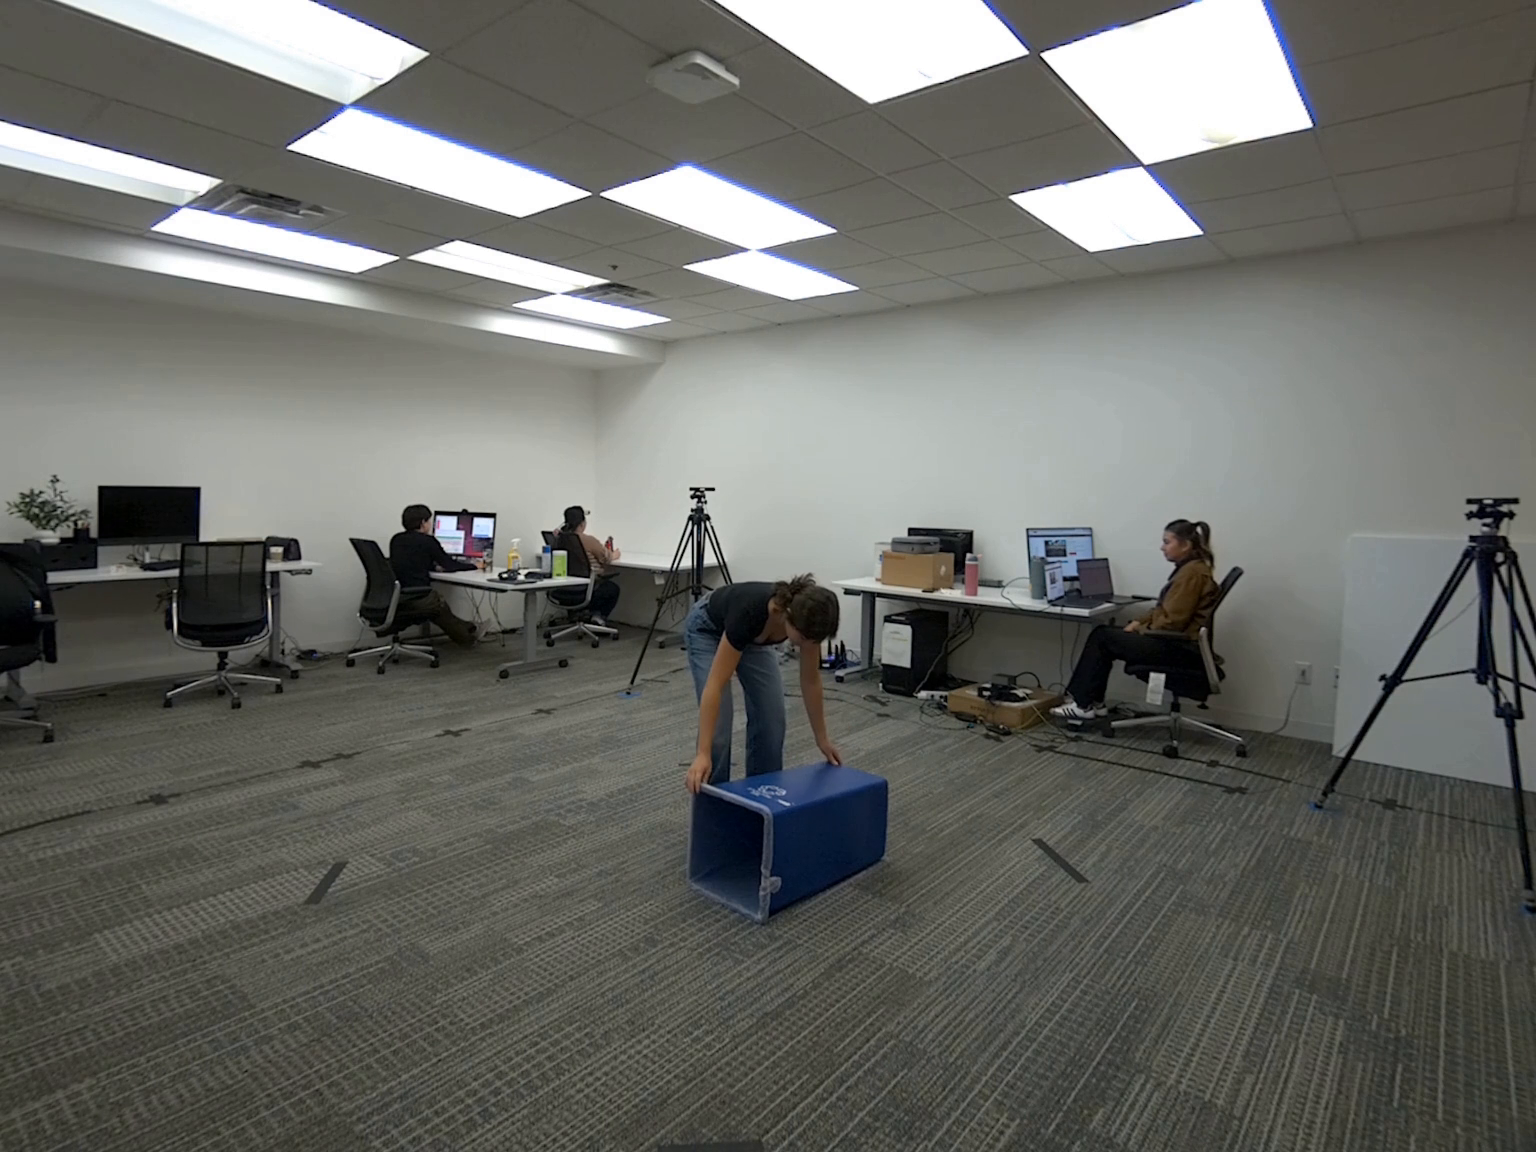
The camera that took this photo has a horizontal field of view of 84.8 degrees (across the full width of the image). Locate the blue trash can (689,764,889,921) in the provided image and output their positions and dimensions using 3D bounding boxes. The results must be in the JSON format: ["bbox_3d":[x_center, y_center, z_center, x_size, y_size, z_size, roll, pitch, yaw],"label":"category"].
[{"bbox_3d":[0.095,0.913,3.071,0.690,0.374,0.391,1,2,-45],"label":"blue trash can"}]
